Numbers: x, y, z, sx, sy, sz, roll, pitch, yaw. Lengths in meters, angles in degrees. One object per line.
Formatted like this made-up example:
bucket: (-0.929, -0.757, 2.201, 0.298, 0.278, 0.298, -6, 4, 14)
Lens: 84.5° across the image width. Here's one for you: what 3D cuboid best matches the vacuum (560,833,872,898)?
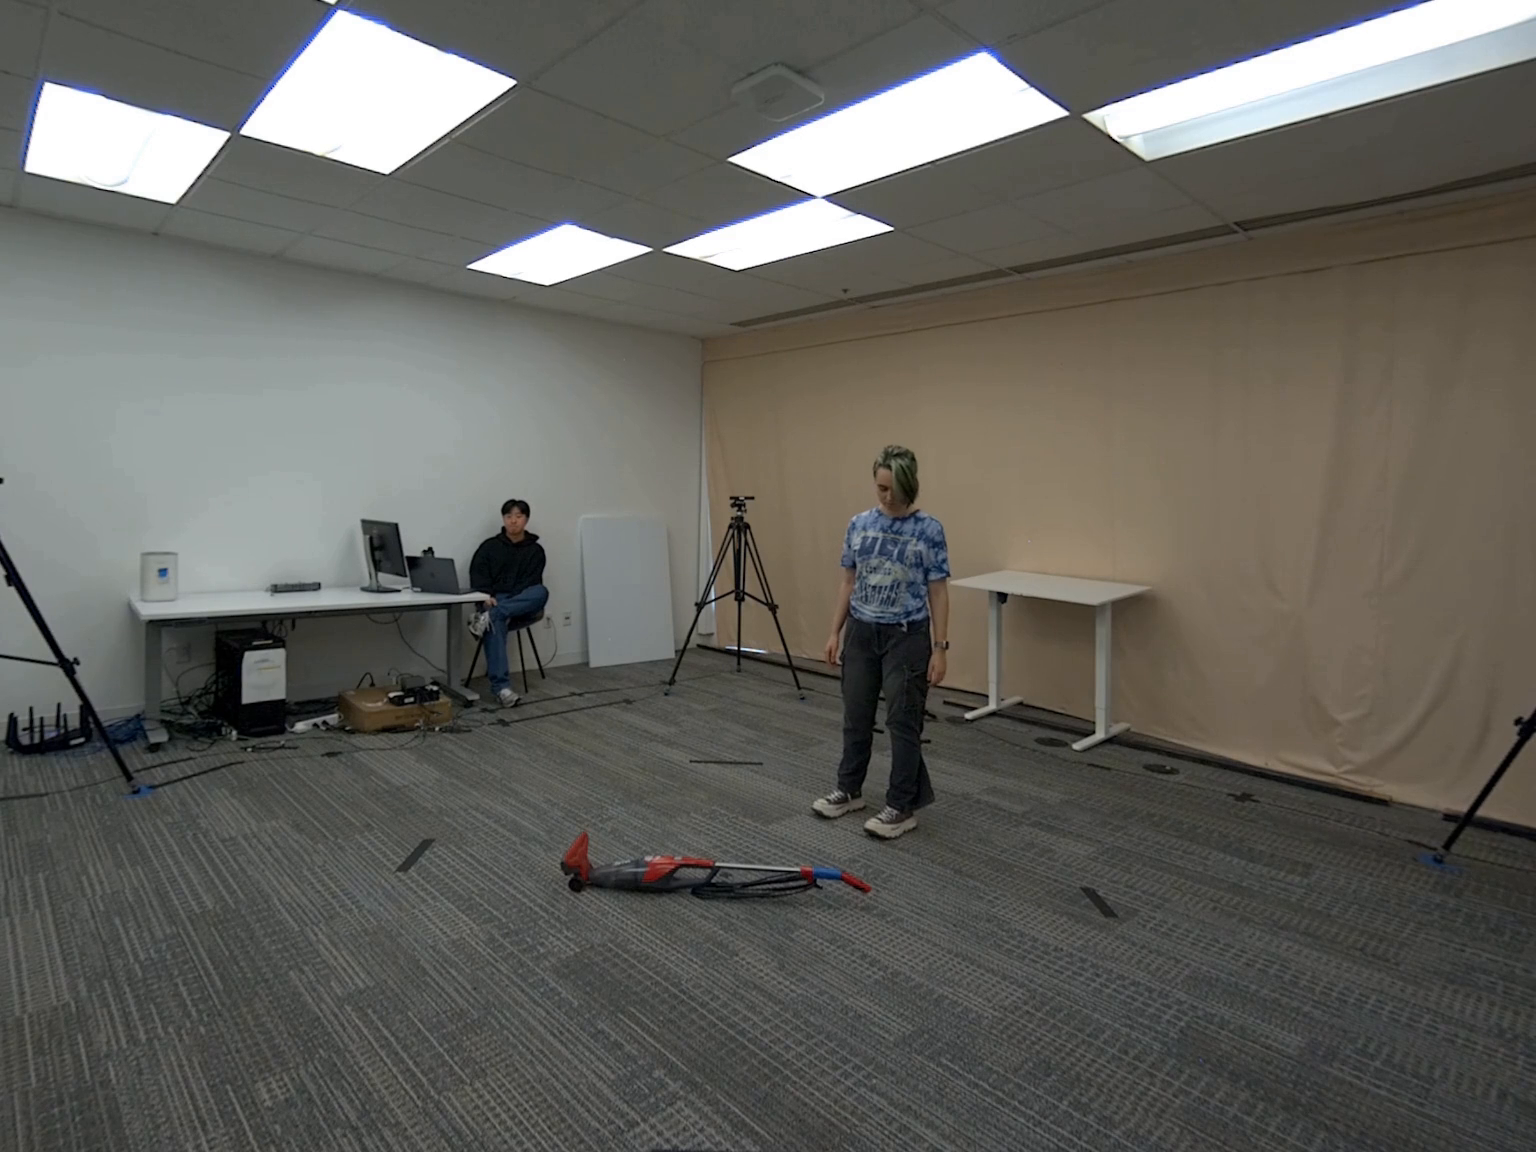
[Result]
vacuum: (-0.177, 1.053, 2.944, 1.055, 0.143, 0.252, 3, 4, 6)
